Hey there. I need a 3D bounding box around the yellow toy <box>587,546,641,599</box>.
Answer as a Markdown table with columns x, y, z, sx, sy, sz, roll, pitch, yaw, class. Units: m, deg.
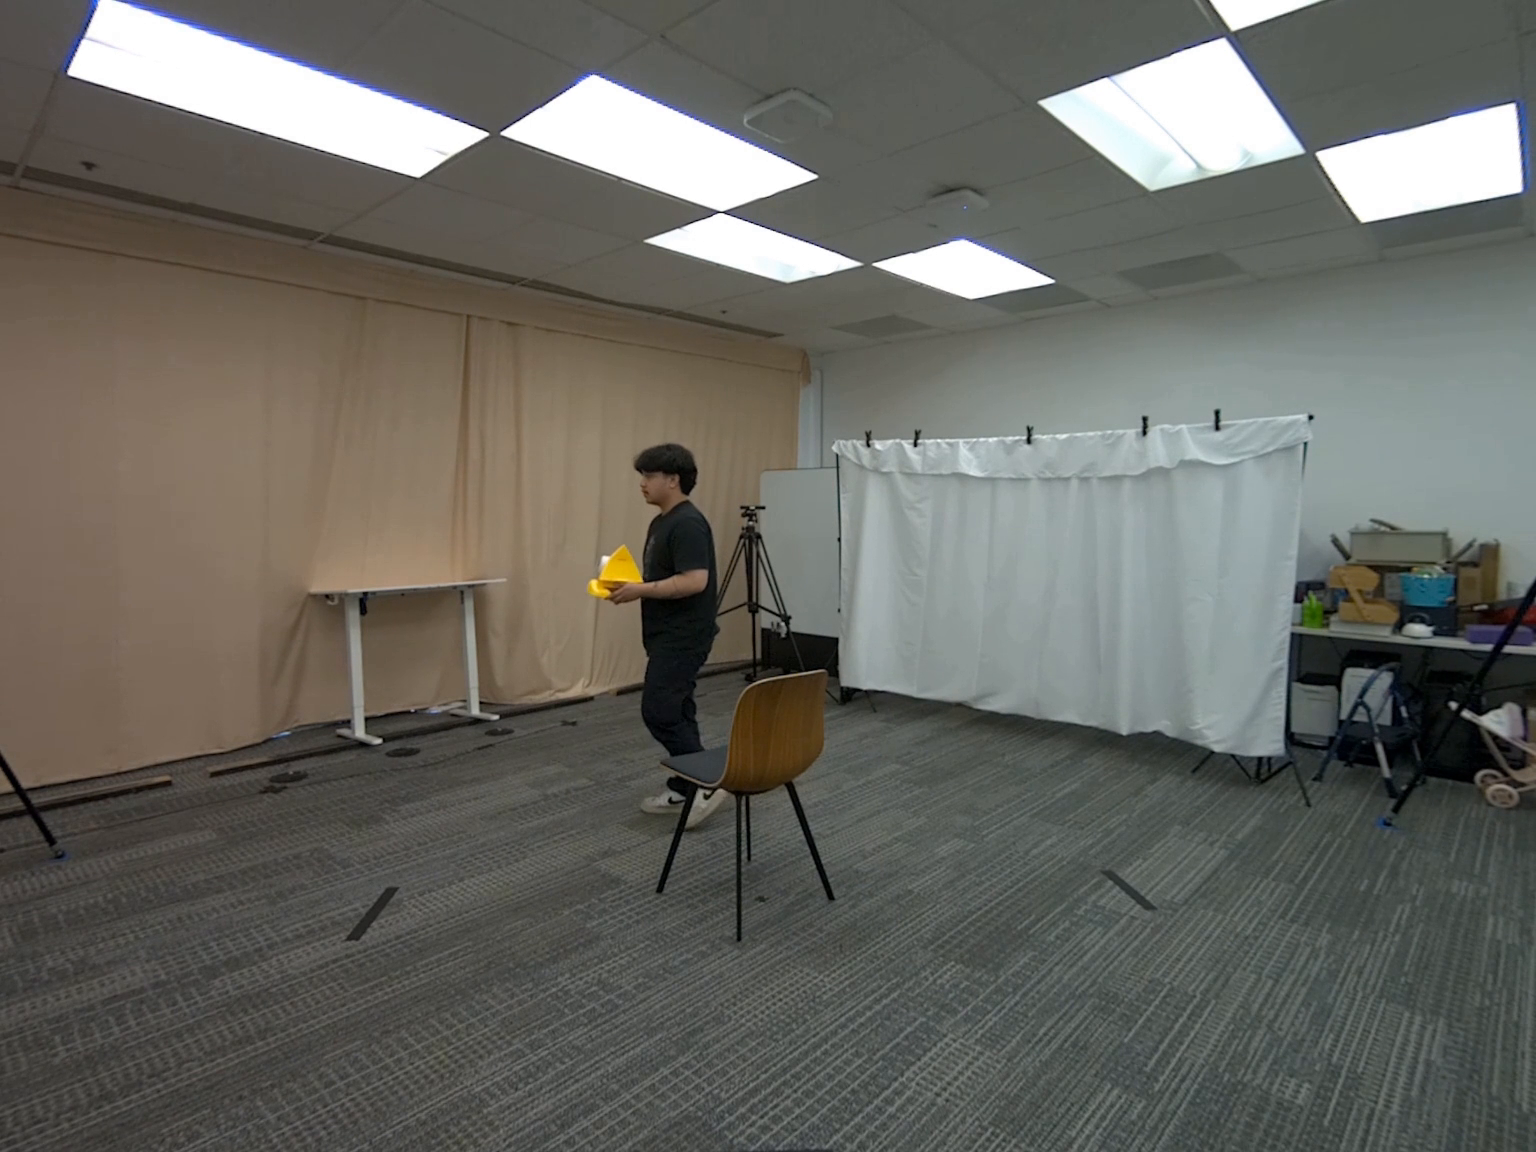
| x | y | z | sx | sy | sz | roll | pitch | yaw | class |
| --- | --- | --- | --- | --- | --- | --- | --- | --- | --- |
| -0.661 | -0.030 | 3.640 | 0.199 | 0.230 | 0.199 | 4 | 9 | -33 | yellow toy |
